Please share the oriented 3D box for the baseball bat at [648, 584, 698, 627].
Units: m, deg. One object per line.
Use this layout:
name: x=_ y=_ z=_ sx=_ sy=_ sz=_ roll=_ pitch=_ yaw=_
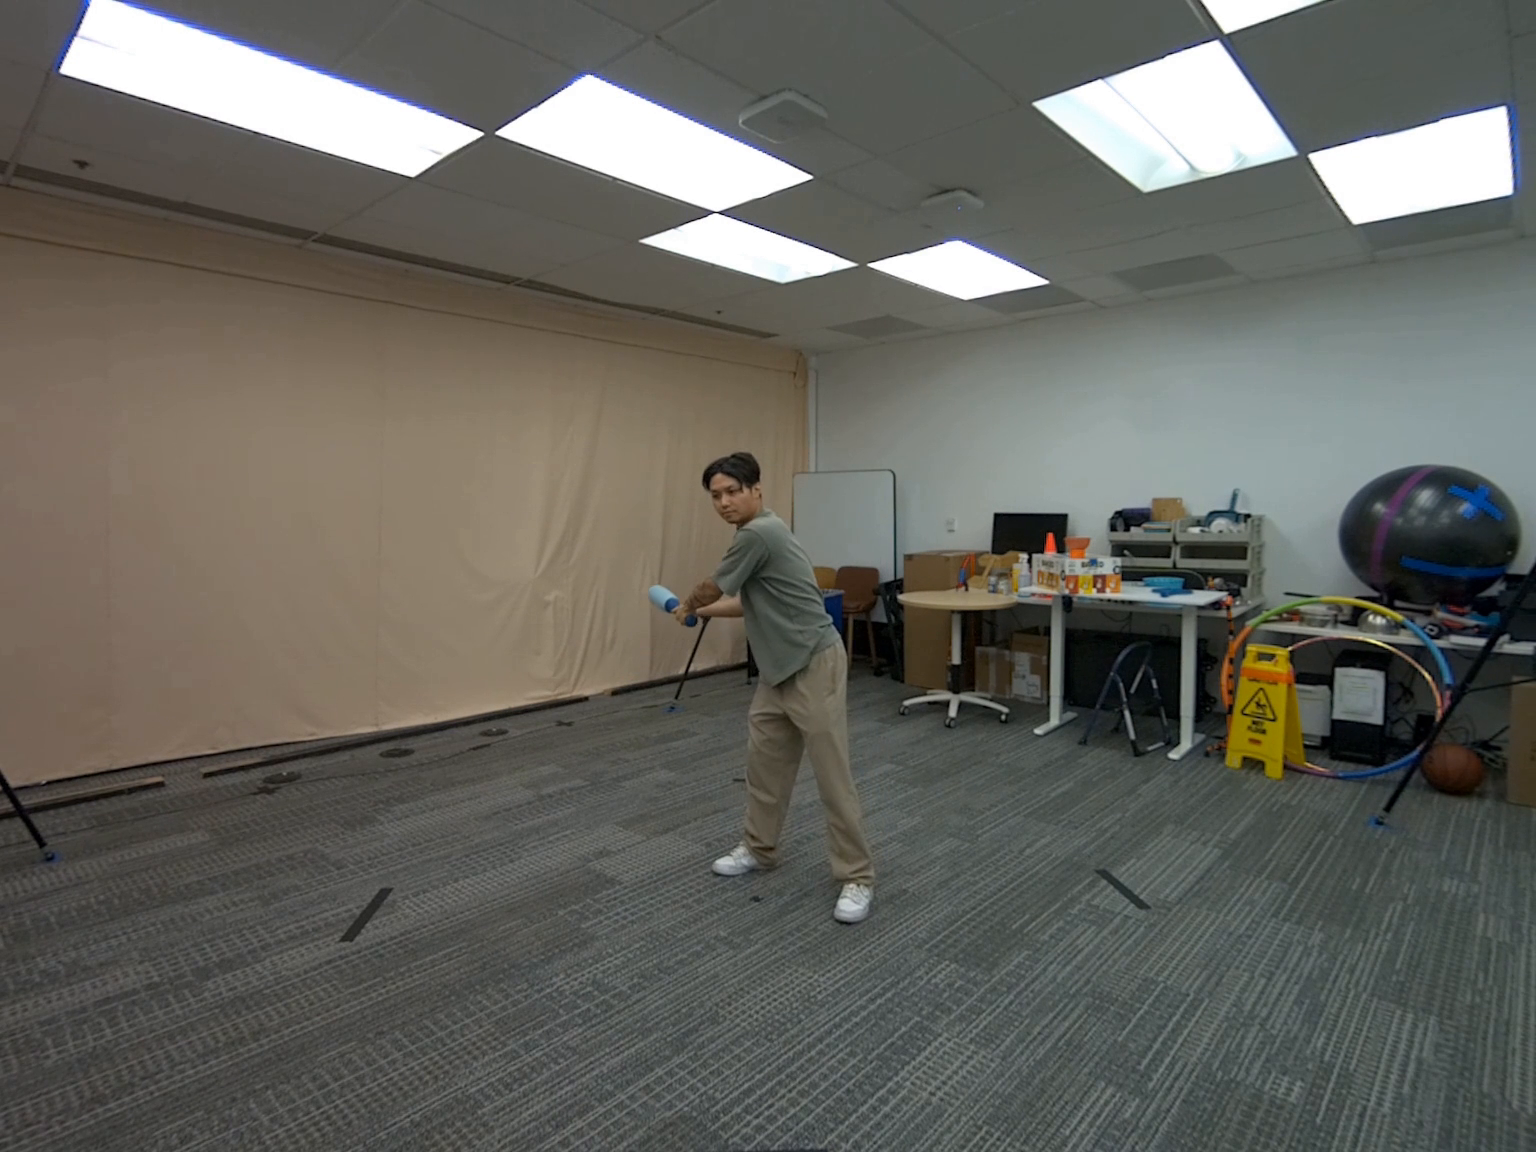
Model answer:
baseball bat: x=-0.393 y=0.136 z=3.529 sx=0.087 sy=0.088 sz=0.558 roll=-2 pitch=12 yaw=-23
